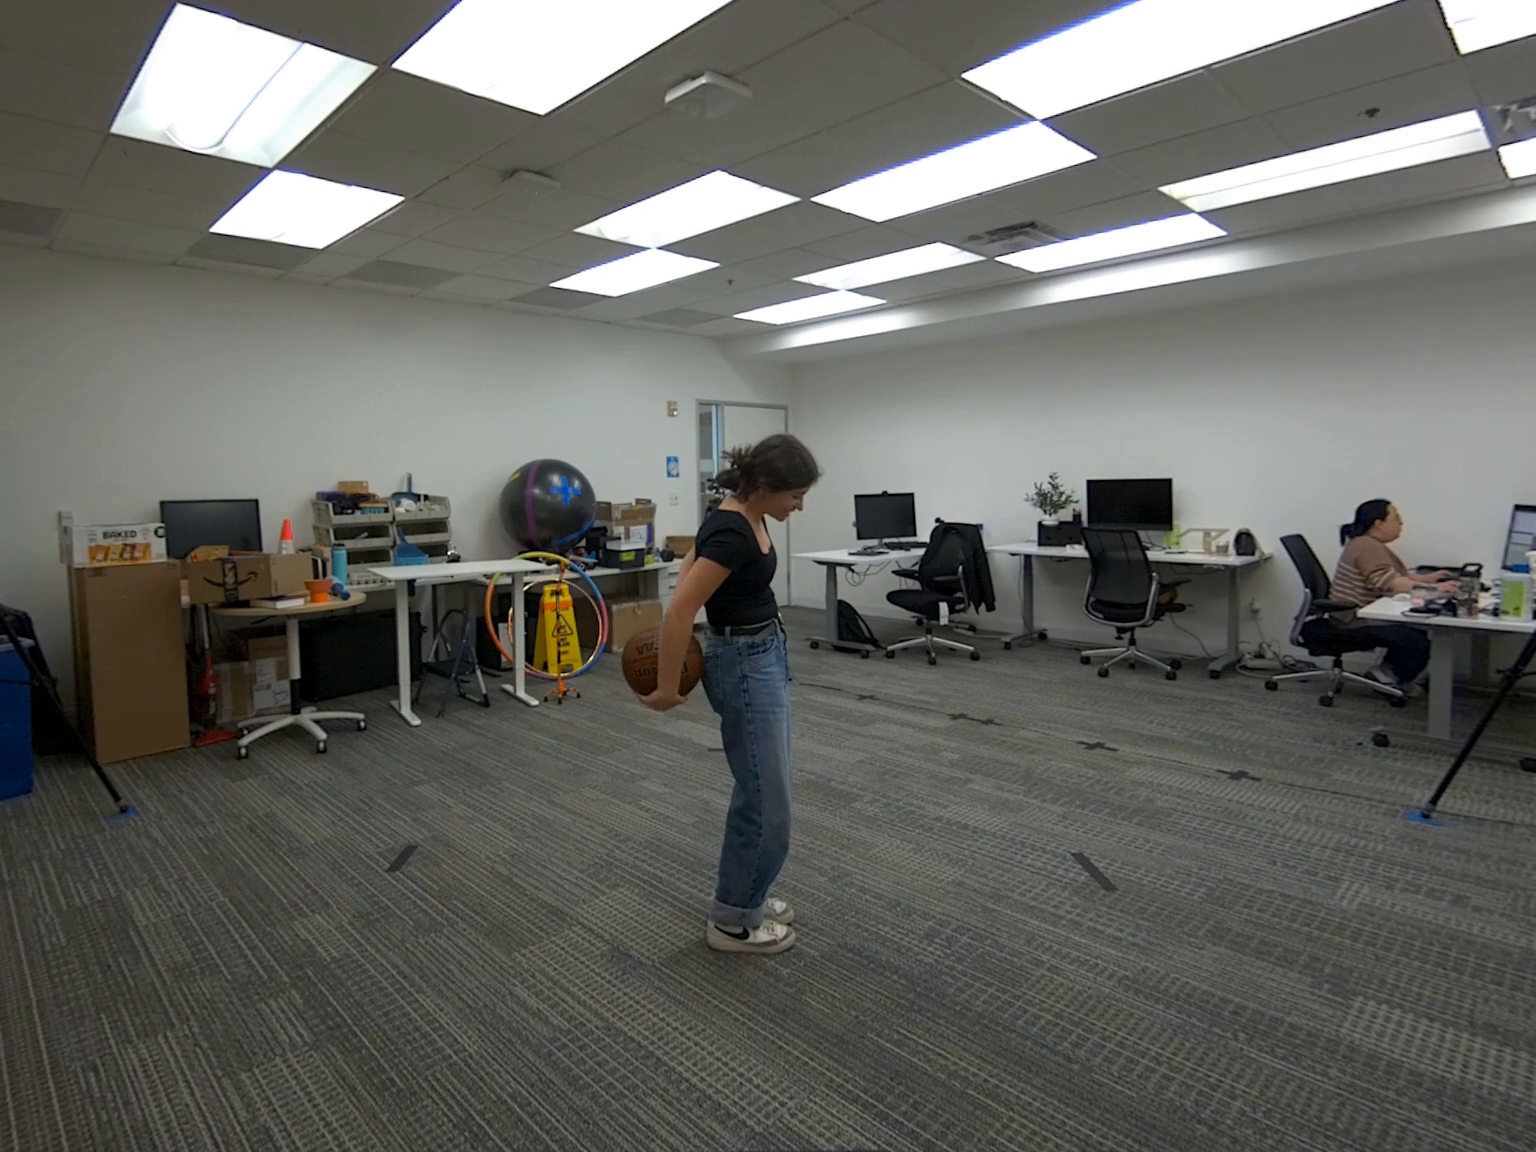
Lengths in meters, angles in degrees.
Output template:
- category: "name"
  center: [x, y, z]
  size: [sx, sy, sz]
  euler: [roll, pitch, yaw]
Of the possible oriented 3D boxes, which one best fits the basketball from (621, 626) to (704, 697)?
- category: "basketball"
  center: [-0.295, 0.247, 2.496]
  size: [0.236, 0.235, 0.237]
  euler: [-1, 5, -2]
